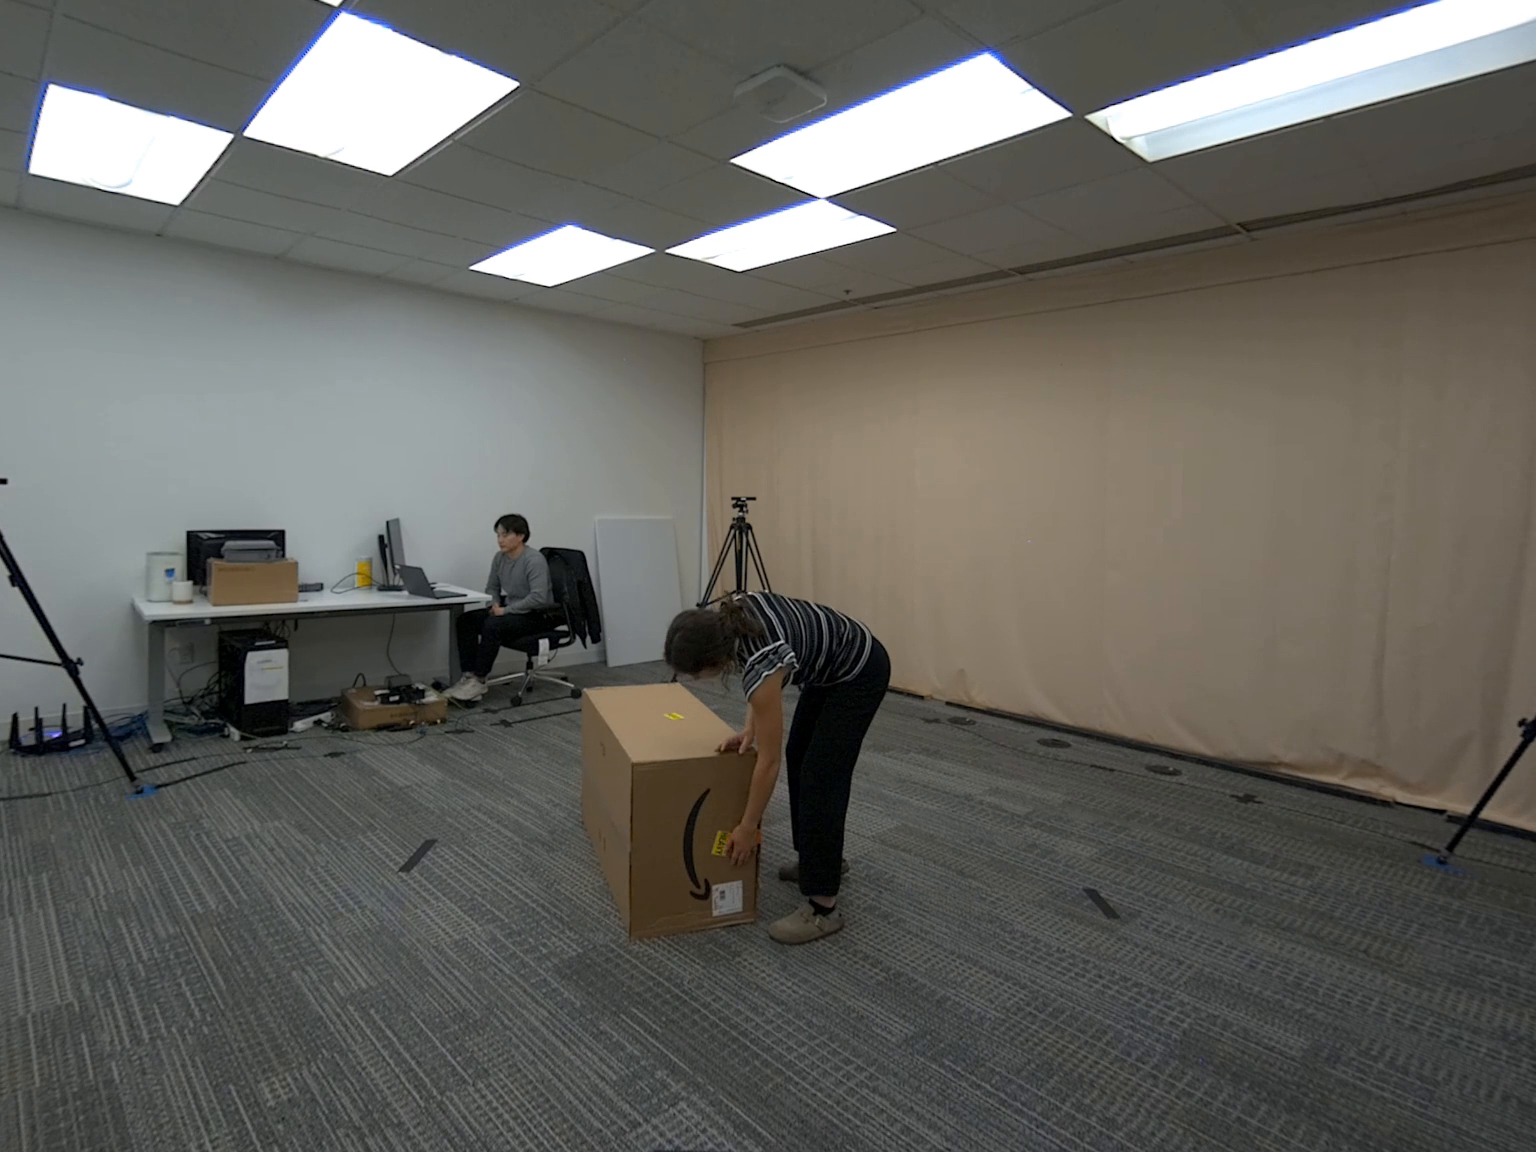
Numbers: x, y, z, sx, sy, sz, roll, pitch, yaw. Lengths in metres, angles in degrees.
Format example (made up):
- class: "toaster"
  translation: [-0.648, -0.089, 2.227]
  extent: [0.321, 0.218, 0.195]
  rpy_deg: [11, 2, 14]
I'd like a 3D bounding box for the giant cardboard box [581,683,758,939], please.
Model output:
- class: "giant cardboard box"
  translation: [-0.422, 0.808, 3.171]
  extent: [0.420, 0.576, 1.044]
  rpy_deg: [0, 5, -20]
